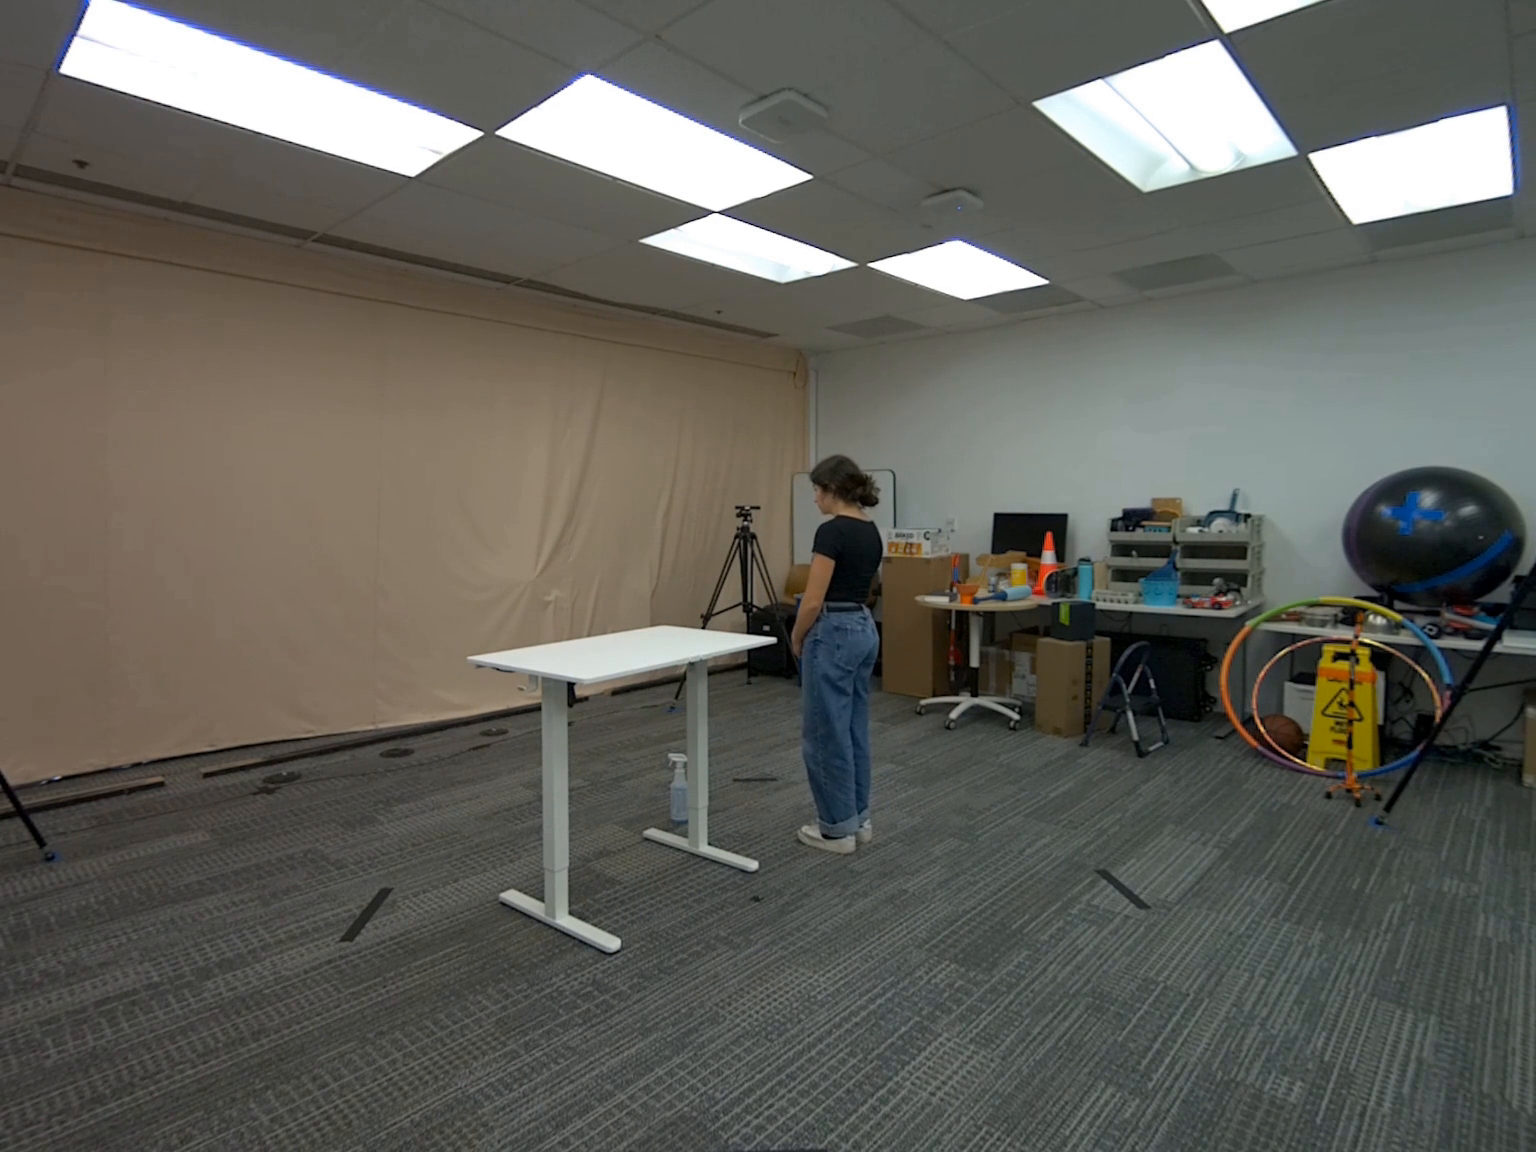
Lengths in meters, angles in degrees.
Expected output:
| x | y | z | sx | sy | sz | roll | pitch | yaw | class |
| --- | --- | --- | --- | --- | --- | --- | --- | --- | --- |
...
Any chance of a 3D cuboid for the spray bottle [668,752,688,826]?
| x | y | z | sx | sy | sz | roll | pitch | yaw | class |
| --- | --- | --- | --- | --- | --- | --- | --- | --- | --- |
| -0.392 | 0.944 | 3.744 | 0.092 | 0.296 | 0.085 | 0 | 5 | 19 | spray bottle |
